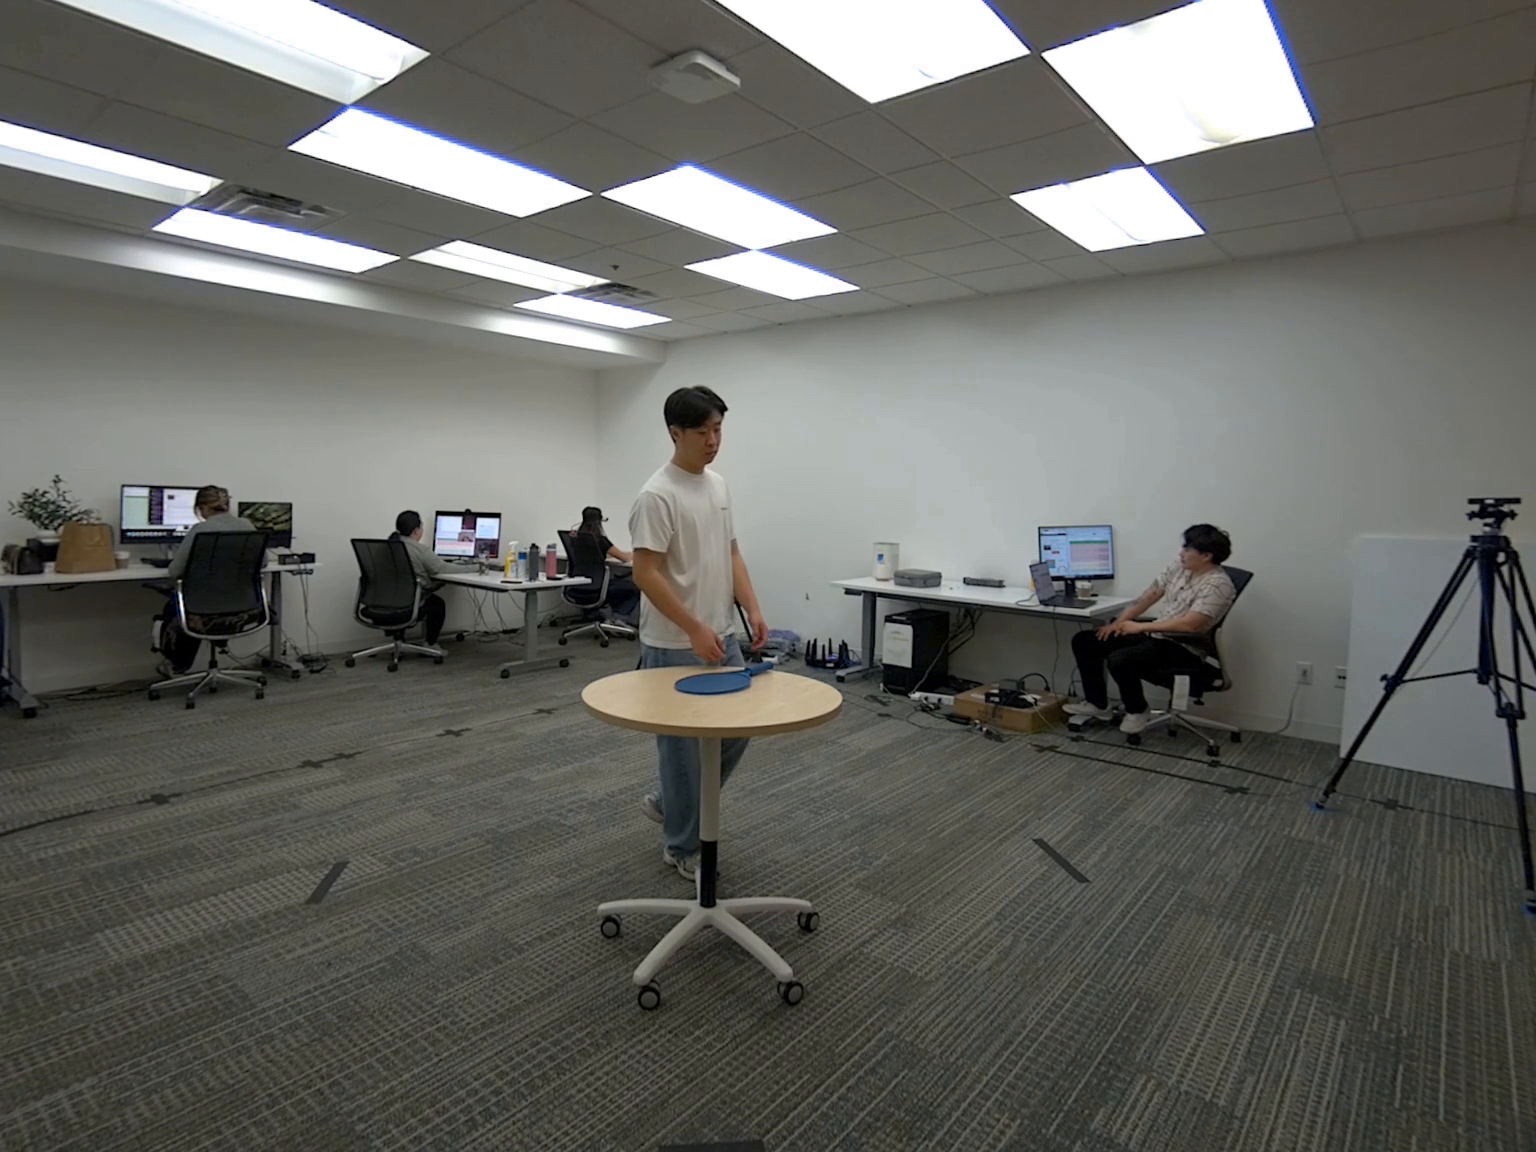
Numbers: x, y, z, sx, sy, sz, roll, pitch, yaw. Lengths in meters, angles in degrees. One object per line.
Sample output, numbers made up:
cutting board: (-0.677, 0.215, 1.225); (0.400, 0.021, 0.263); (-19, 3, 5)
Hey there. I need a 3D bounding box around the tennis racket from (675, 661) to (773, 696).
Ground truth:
tennis racket: (-0.129, 0.318, 2.668); (0.221, 0.031, 0.421); (6, 9, 39)
